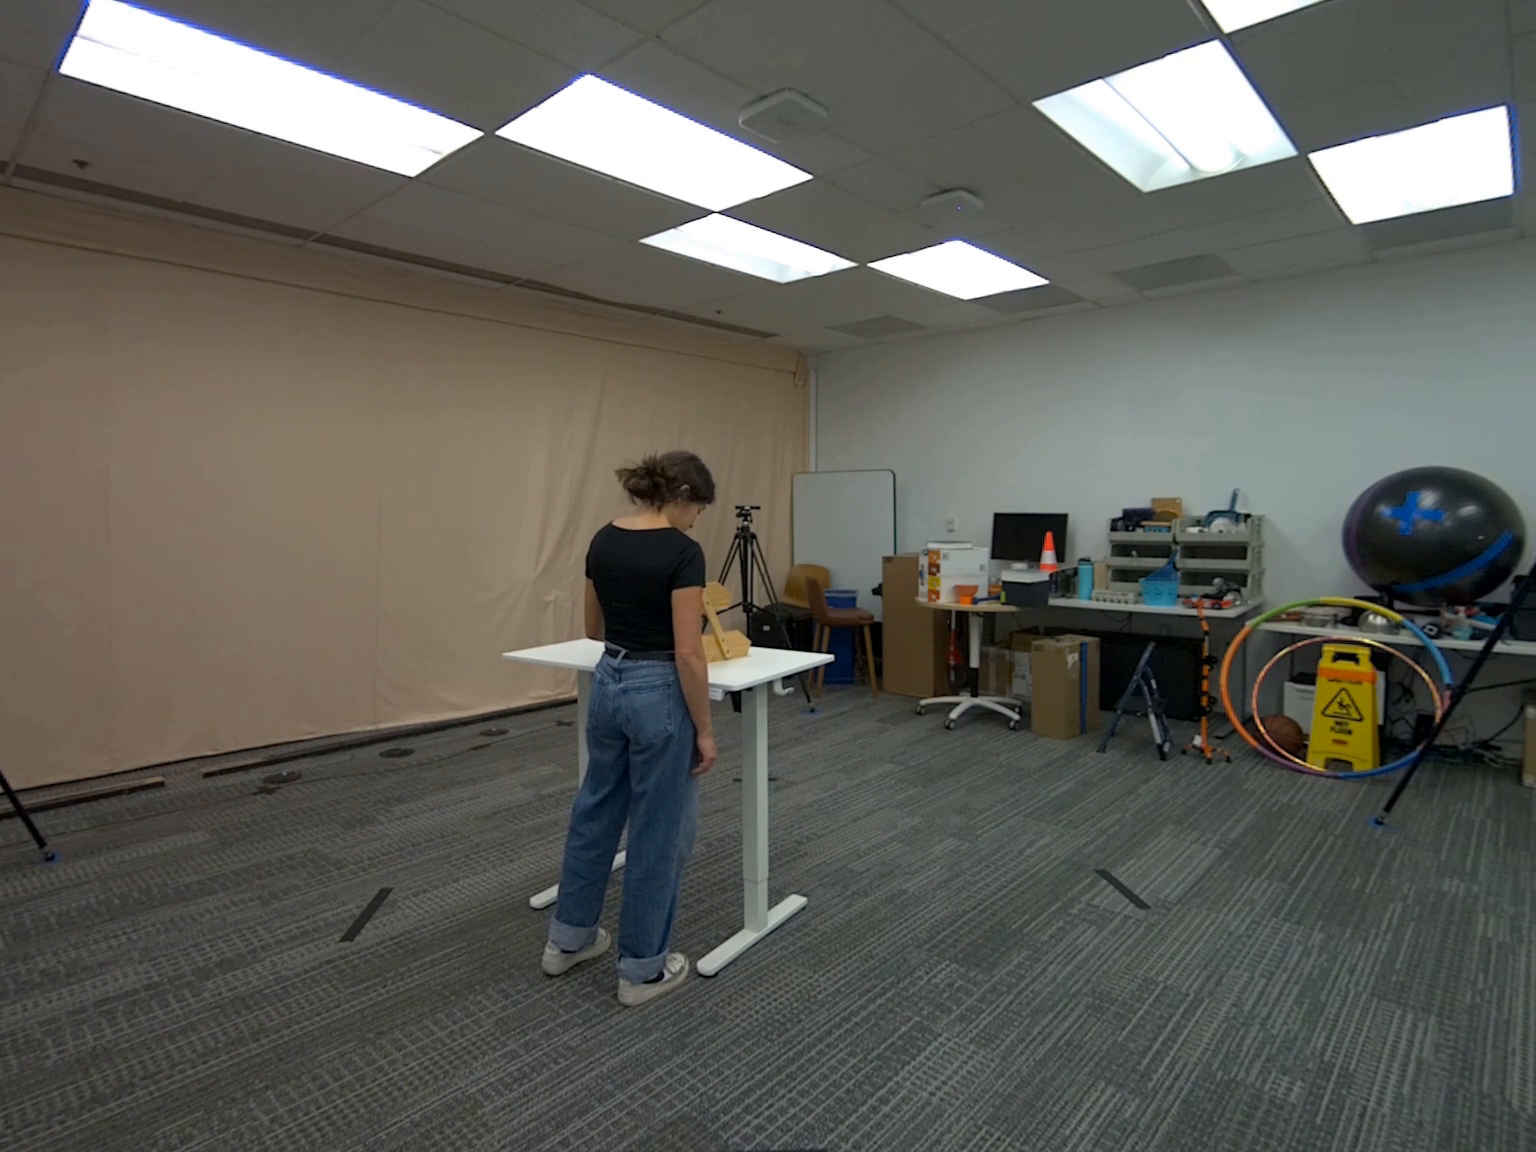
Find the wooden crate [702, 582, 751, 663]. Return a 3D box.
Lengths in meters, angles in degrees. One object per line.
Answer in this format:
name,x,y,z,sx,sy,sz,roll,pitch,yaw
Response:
wooden crate,-0.270,0.140,2.863,0.335,0.273,0.293,2,5,43
